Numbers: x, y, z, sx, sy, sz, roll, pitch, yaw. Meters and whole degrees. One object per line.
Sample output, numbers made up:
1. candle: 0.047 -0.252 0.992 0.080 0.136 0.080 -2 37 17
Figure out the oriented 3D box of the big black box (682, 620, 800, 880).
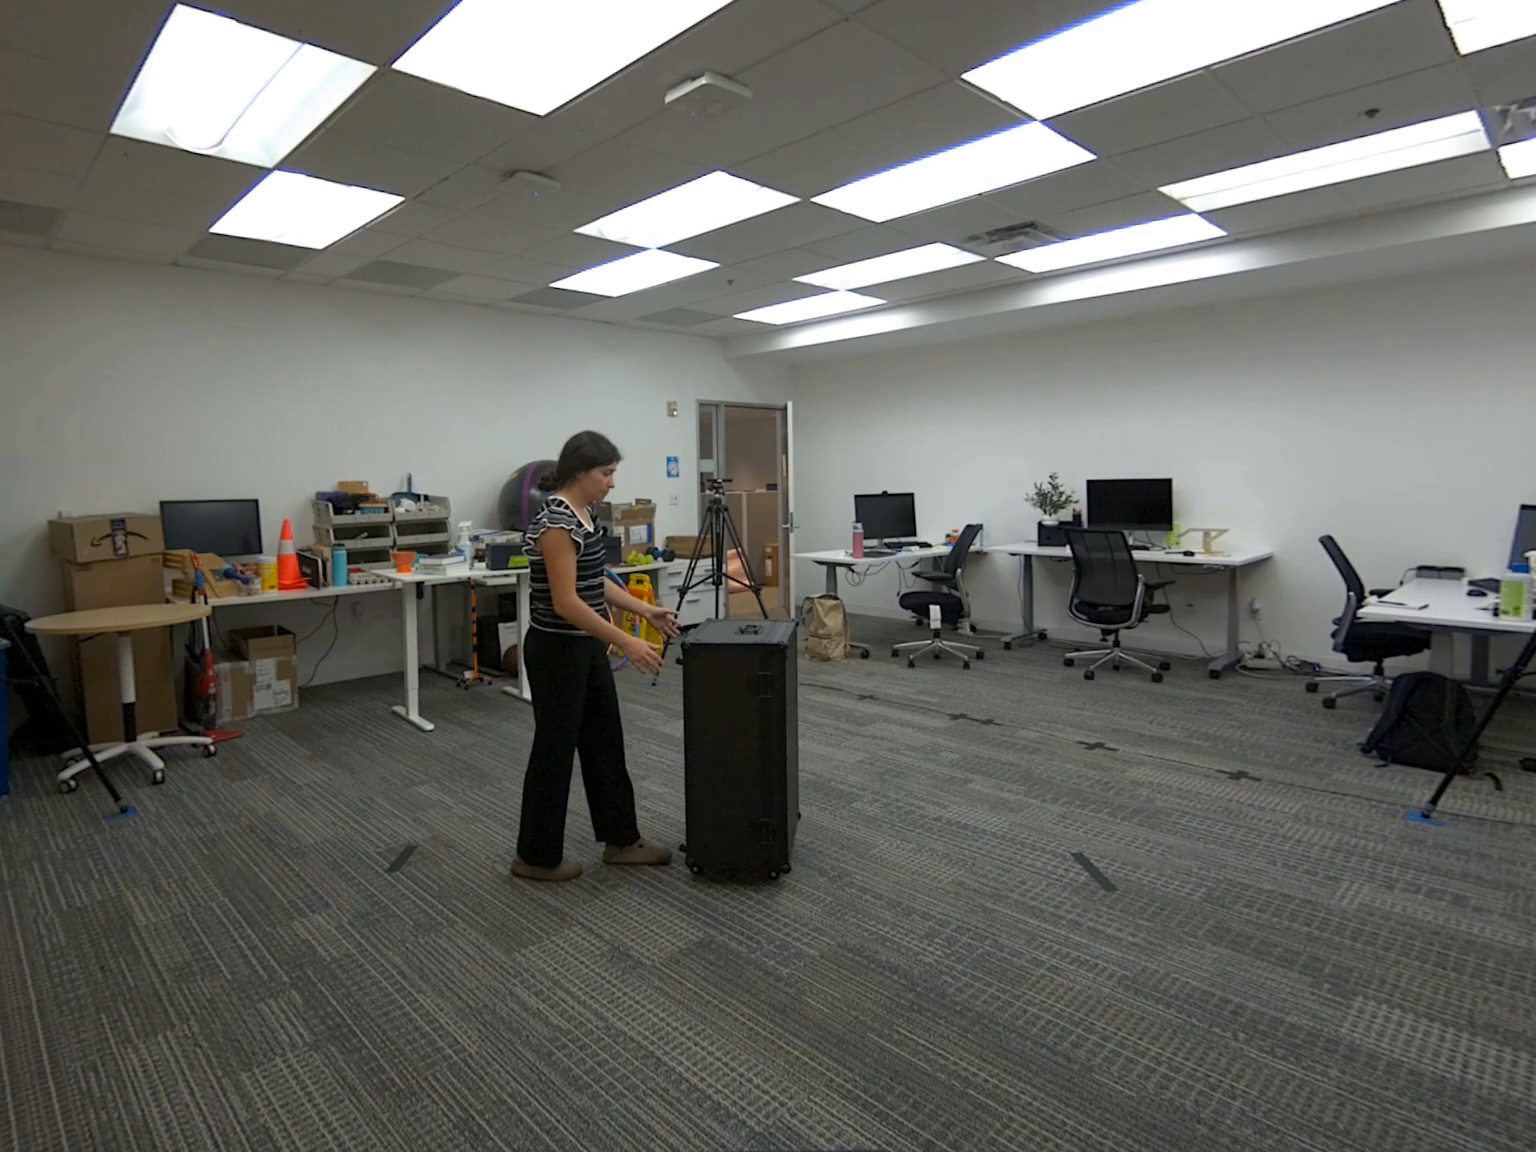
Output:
1. big black box: -0.093 0.620 3.110 0.399 0.857 0.520 0 5 7
